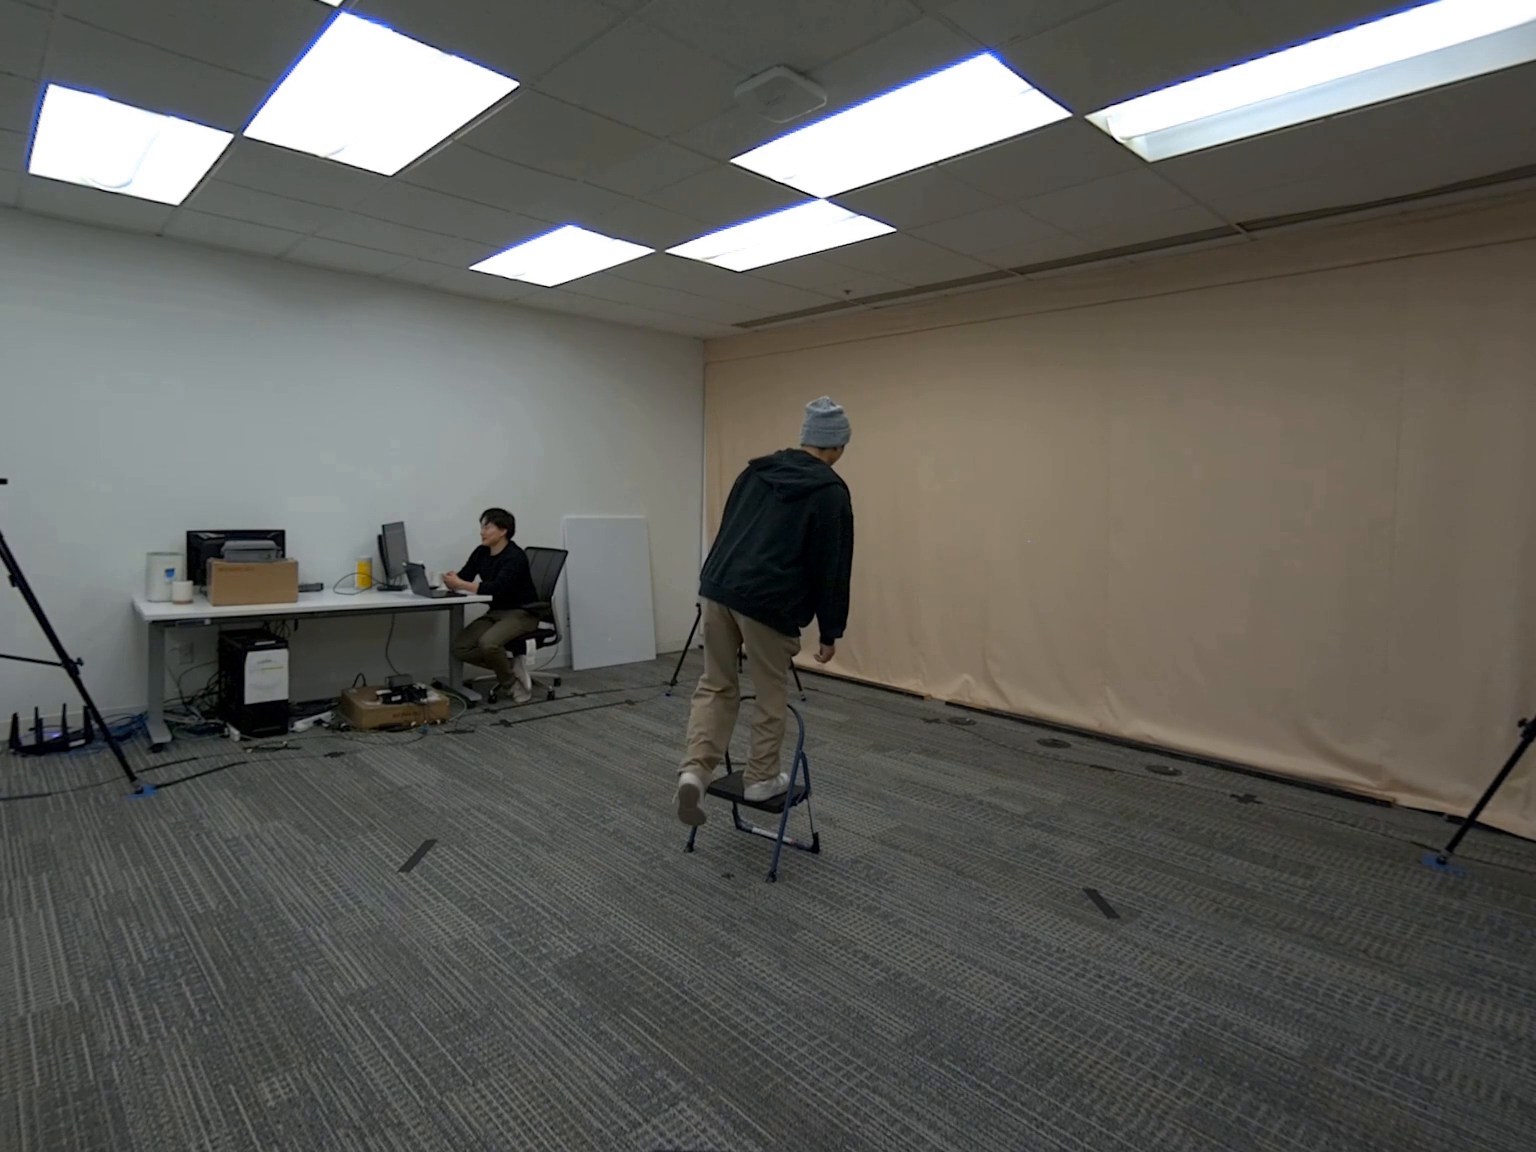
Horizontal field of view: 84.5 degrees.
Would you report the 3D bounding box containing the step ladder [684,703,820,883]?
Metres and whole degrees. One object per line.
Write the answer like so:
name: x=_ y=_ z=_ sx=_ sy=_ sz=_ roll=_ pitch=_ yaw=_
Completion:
step ladder: x=-0.054 y=0.789 z=3.306 sx=0.441 sy=0.605 sz=0.341 roll=4 pitch=4 yaw=36
